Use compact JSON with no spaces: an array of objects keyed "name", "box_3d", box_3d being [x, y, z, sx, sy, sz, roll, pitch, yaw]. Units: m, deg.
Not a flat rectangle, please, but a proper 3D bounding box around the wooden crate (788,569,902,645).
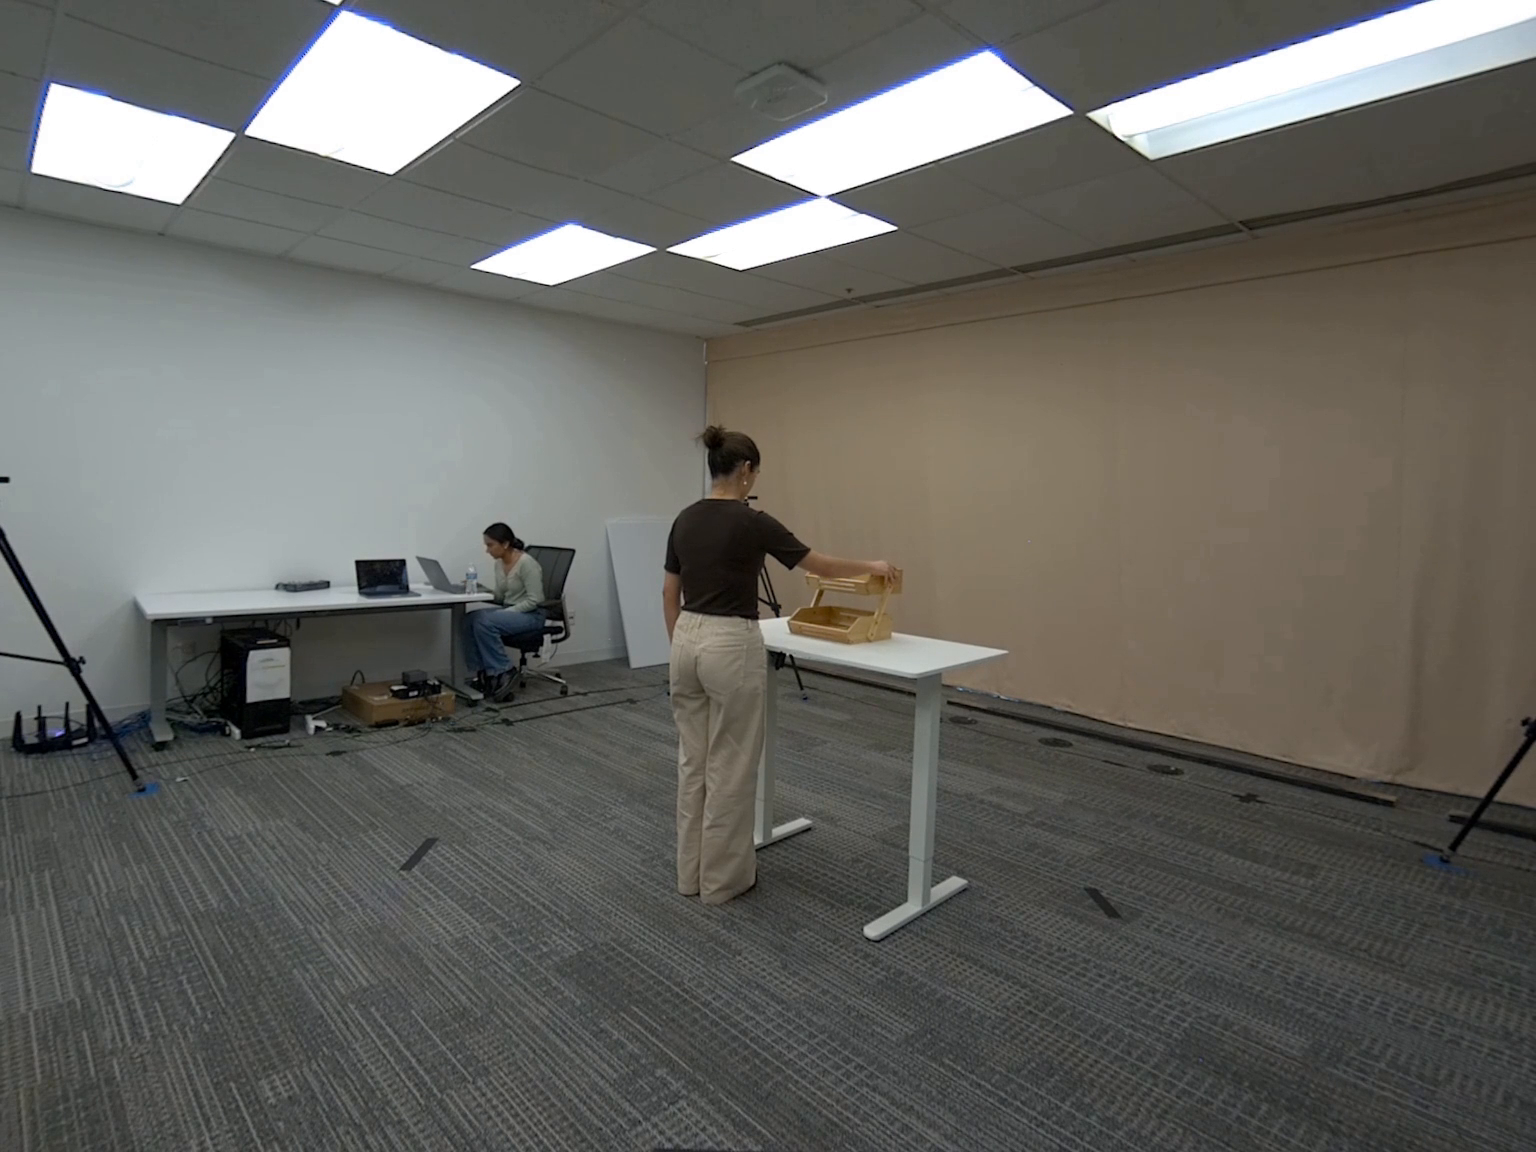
[{"name":"wooden crate","box_3d":[0.282,0.094,3.163,0.295,0.273,0.333,-1,5,-43]}]
